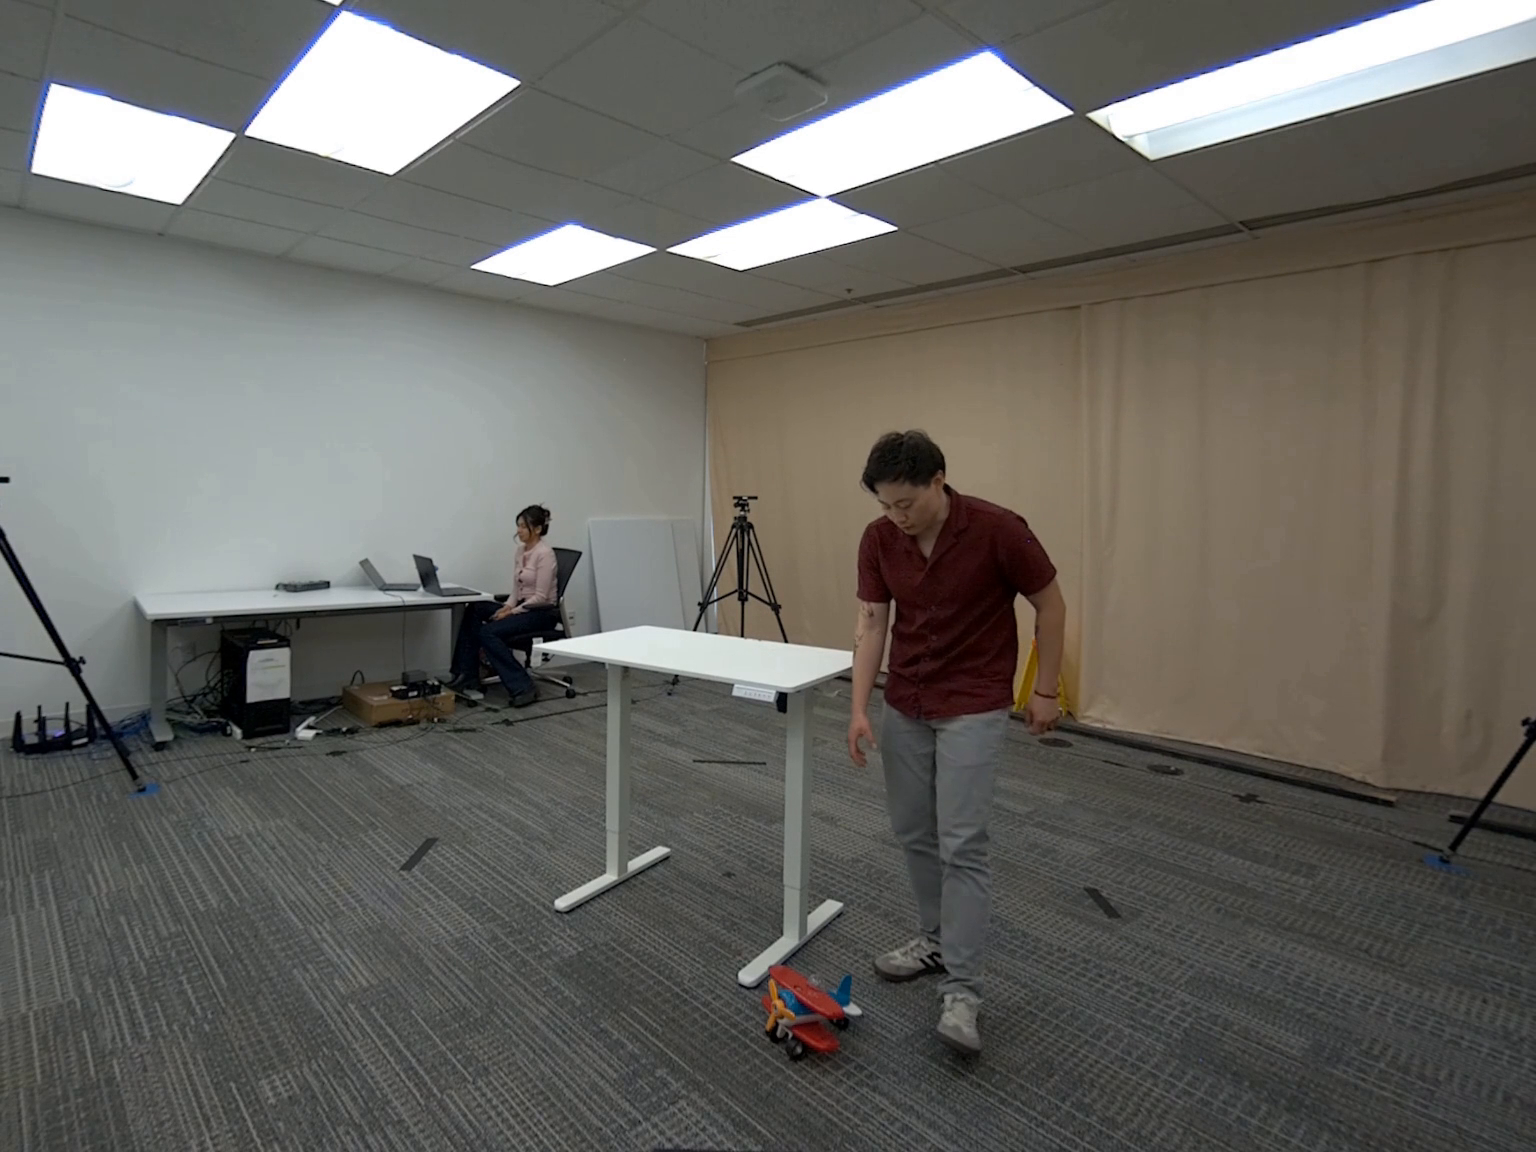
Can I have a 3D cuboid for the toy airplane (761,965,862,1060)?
[{"bbox_3d":[0.101,1.120,2.185,0.256,0.156,0.255,4,7,25],"label":"toy airplane"}]
